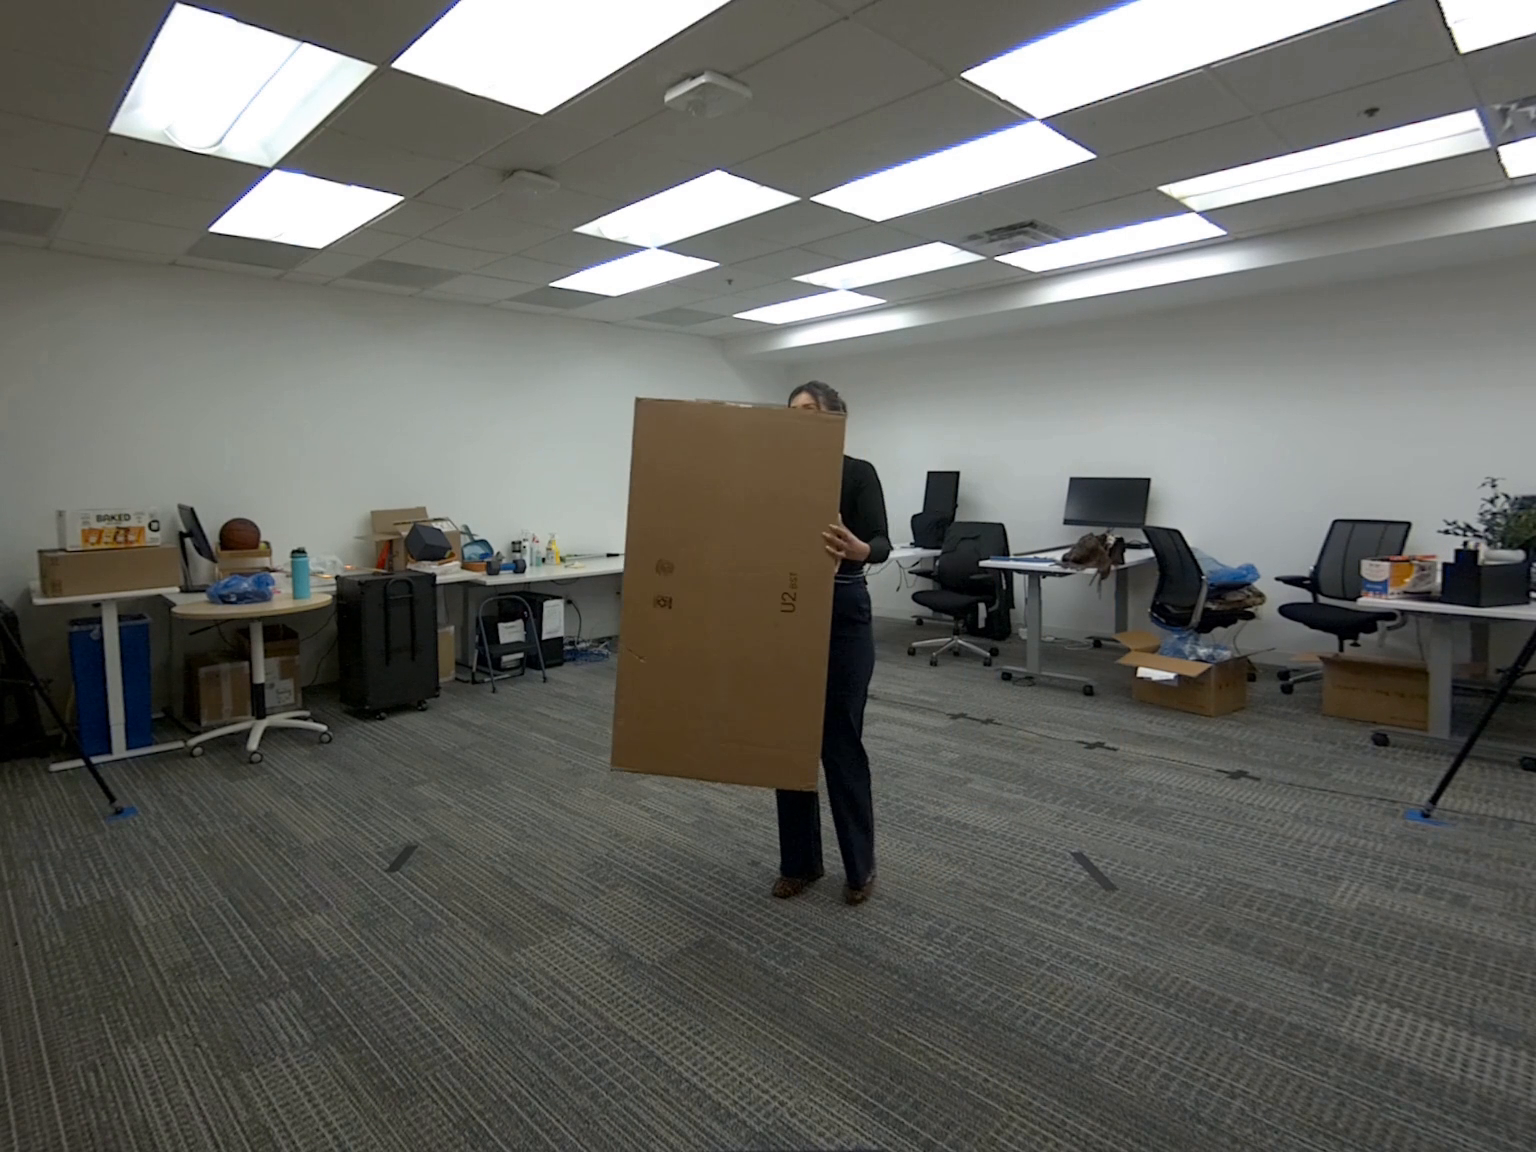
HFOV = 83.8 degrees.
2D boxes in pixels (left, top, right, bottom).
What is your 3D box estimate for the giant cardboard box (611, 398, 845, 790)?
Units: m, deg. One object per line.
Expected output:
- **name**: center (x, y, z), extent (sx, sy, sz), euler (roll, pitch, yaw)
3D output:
- **giant cardboard box**: center (-0.096, 0.033, 2.499), extent (0.580, 1.024, 0.425), euler (4, 2, 3)
